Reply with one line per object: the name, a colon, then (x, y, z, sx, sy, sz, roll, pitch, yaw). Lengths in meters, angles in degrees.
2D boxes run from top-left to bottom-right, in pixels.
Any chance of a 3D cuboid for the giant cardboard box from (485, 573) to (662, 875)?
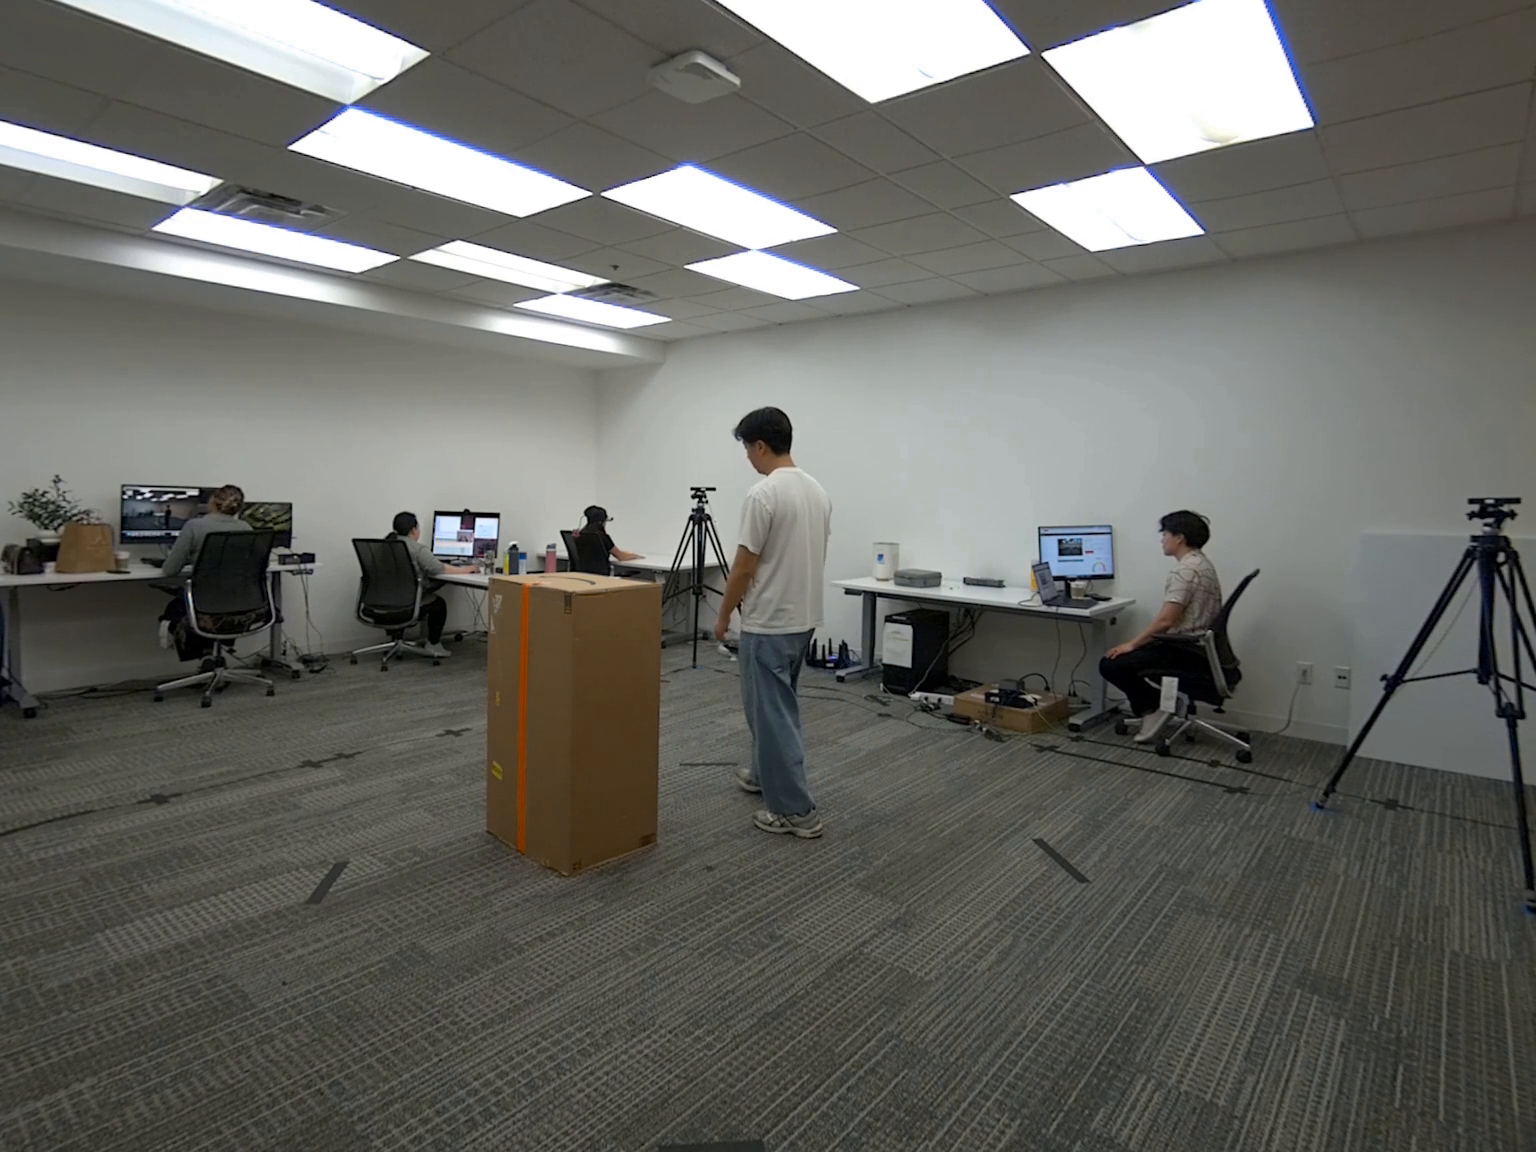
giant cardboard box: (-0.779, 0.525, 3.326, 0.597, 1.023, 0.413, 4, 4, 43)
